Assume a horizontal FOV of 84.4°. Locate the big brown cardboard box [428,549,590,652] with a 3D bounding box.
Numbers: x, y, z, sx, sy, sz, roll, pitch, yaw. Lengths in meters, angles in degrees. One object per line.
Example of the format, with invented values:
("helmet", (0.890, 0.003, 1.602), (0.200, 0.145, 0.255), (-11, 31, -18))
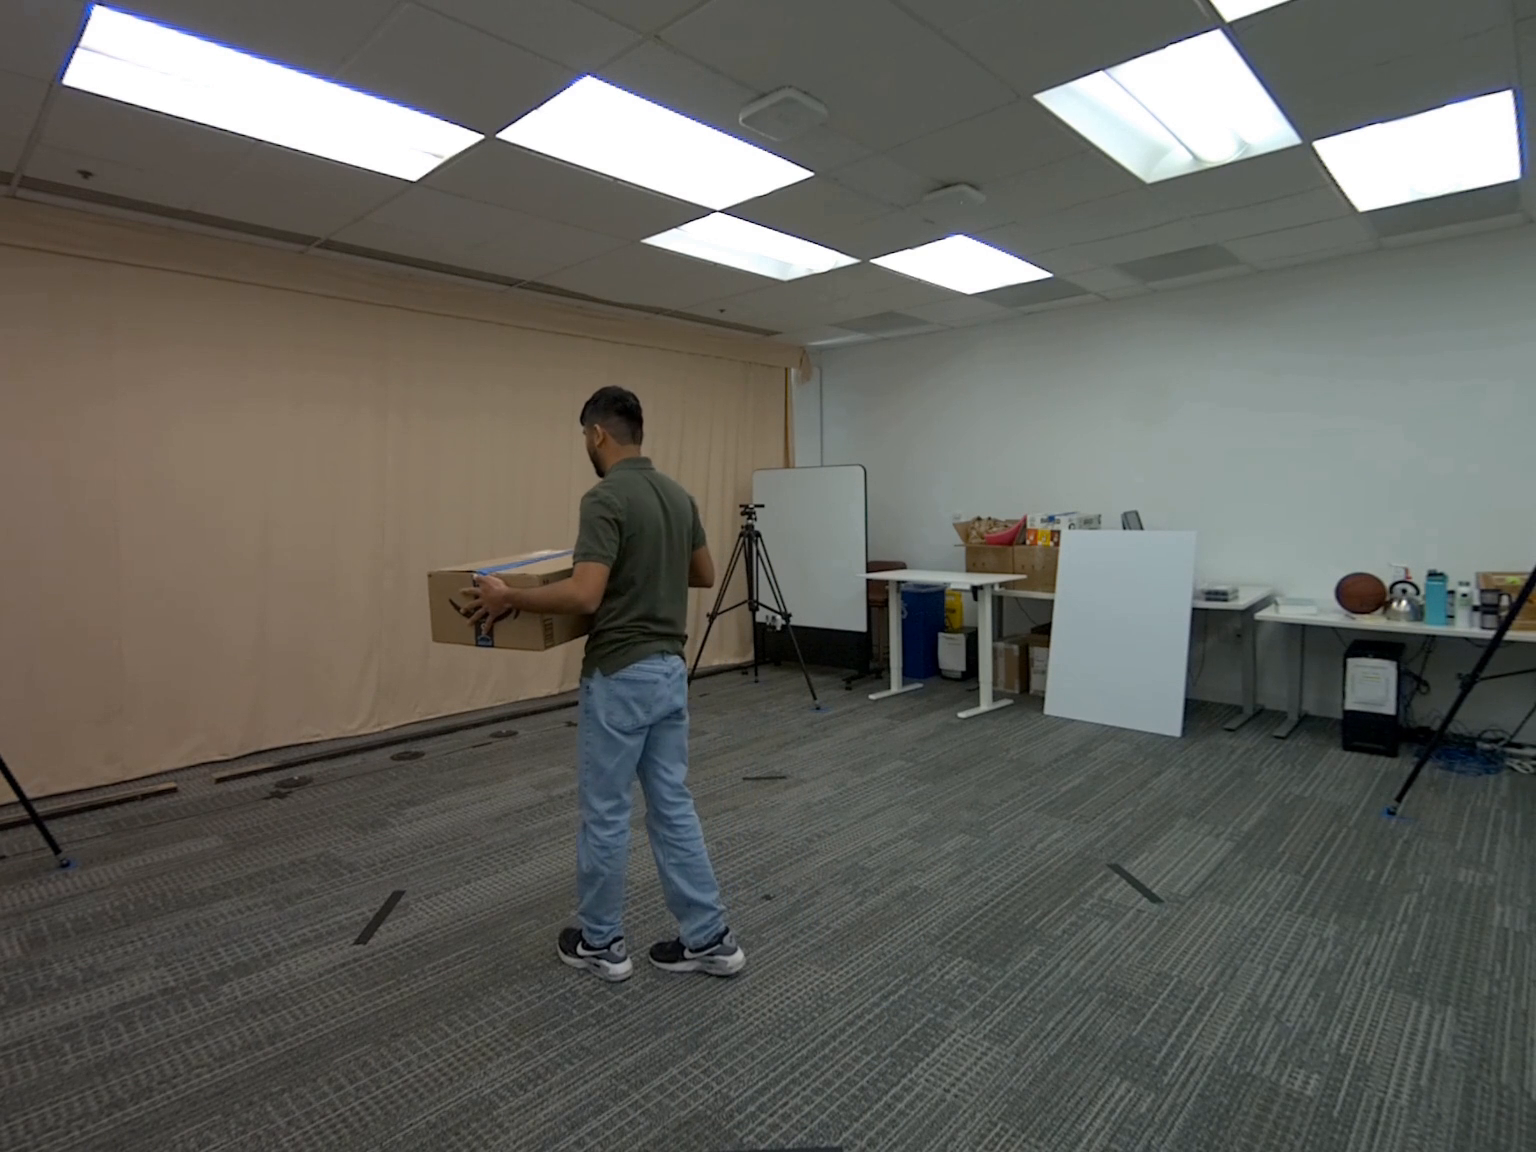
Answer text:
("big brown cardboard box", (-0.698, 0.055, 2.648), (0.428, 0.232, 0.578), (1, 9, 23))
